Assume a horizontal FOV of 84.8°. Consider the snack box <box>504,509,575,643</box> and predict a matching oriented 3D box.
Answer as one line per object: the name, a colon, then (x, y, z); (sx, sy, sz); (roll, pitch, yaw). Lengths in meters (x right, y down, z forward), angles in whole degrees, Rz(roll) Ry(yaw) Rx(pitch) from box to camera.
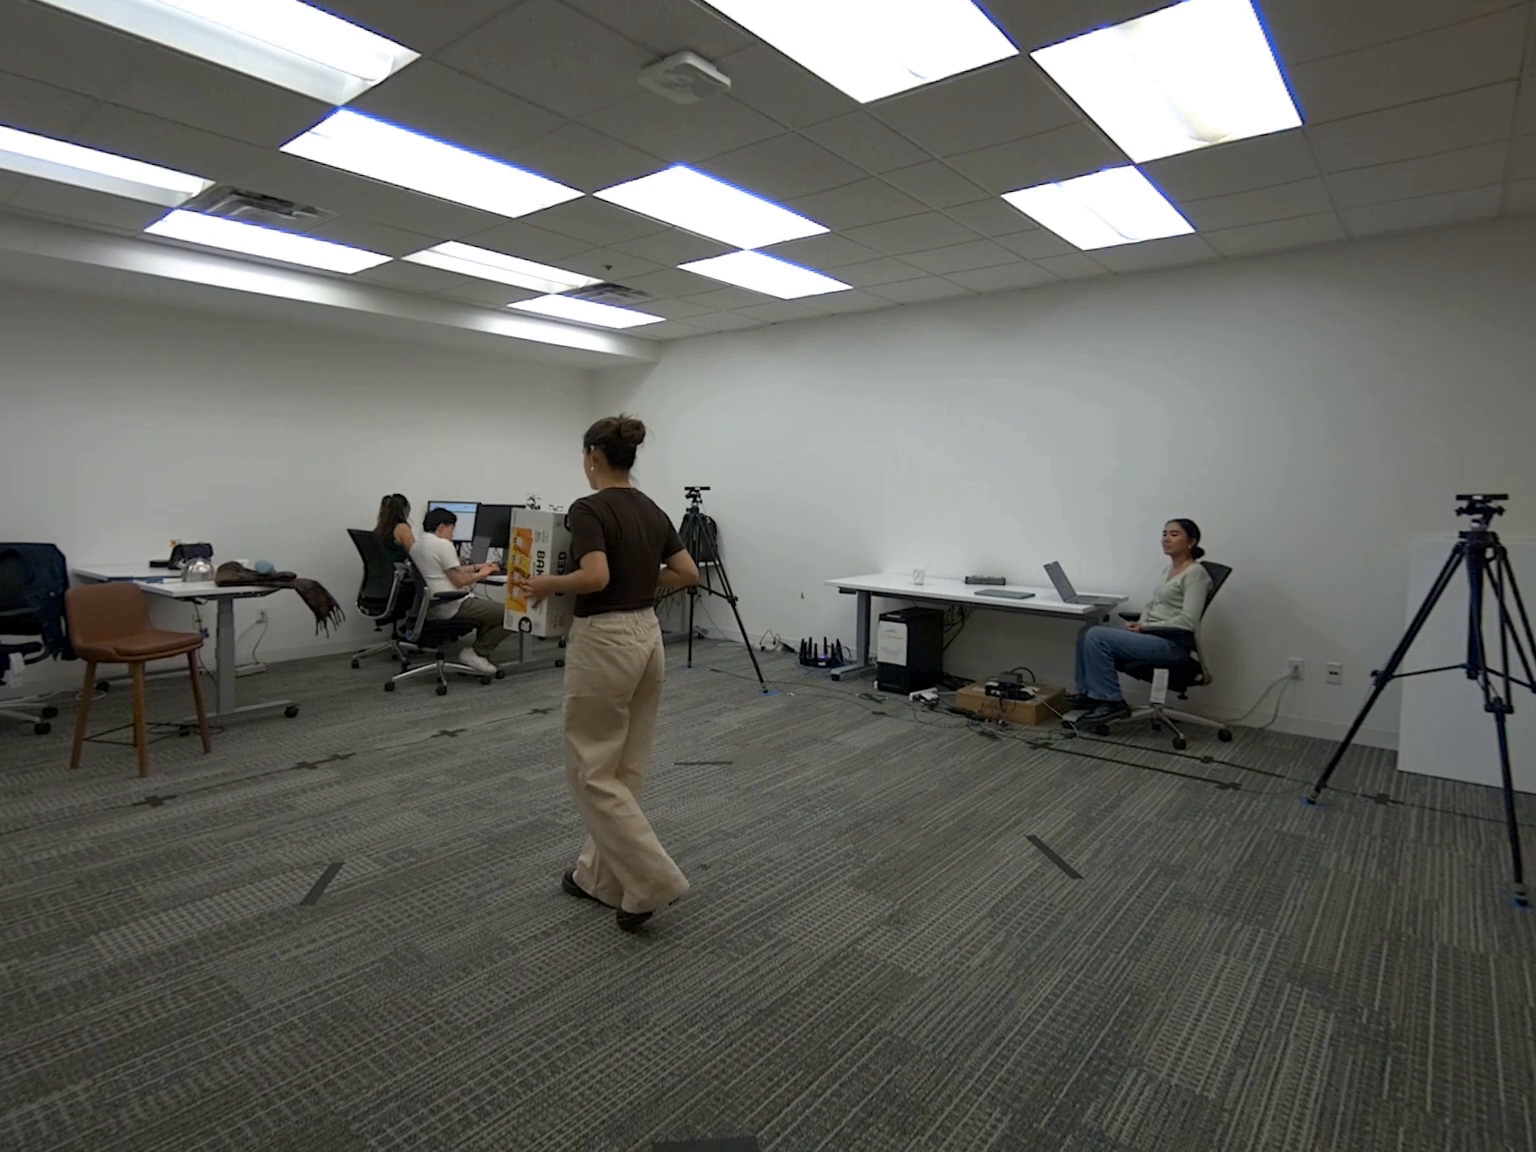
snack box: (-0.707, -0.020, 2.921); (0.212, 0.404, 0.330); (5, 3, 32)
